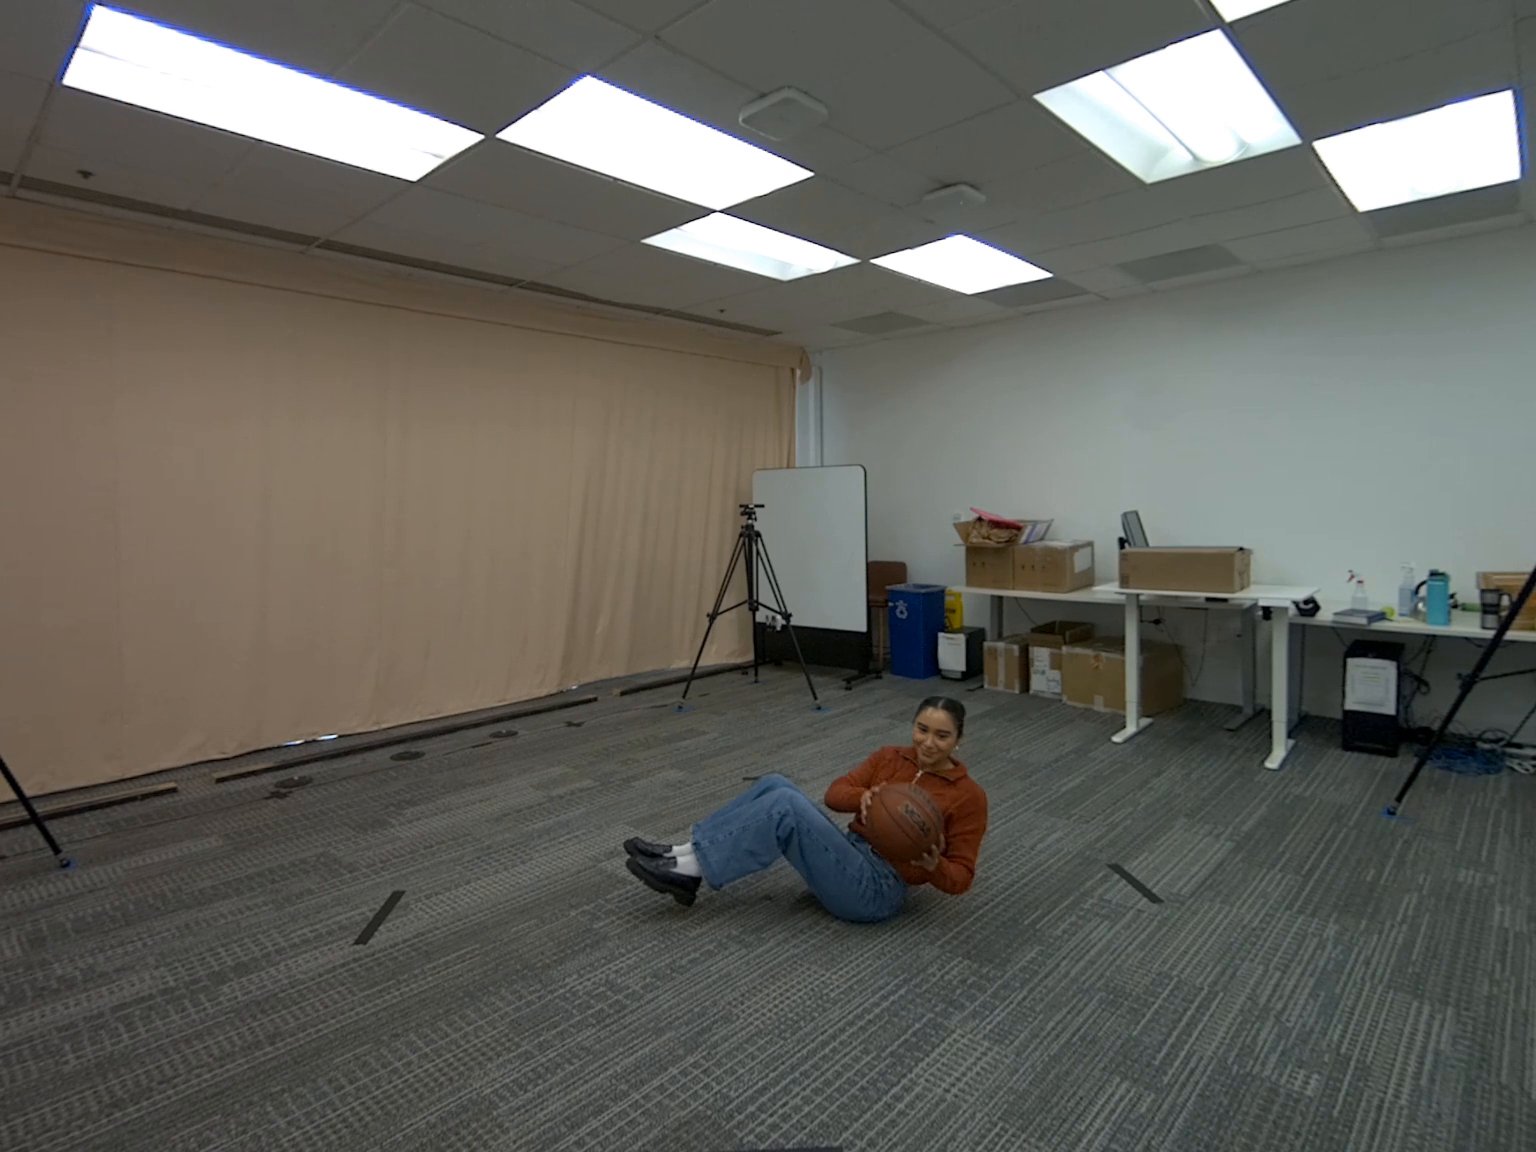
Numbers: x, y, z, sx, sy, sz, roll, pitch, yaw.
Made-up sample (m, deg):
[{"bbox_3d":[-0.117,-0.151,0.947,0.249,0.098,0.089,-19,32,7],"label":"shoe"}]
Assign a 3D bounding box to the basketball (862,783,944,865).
[{"bbox_3d":[0.422,0.756,2.617,0.236,0.235,0.237,-1,4,-2],"label":"basketball"}]
